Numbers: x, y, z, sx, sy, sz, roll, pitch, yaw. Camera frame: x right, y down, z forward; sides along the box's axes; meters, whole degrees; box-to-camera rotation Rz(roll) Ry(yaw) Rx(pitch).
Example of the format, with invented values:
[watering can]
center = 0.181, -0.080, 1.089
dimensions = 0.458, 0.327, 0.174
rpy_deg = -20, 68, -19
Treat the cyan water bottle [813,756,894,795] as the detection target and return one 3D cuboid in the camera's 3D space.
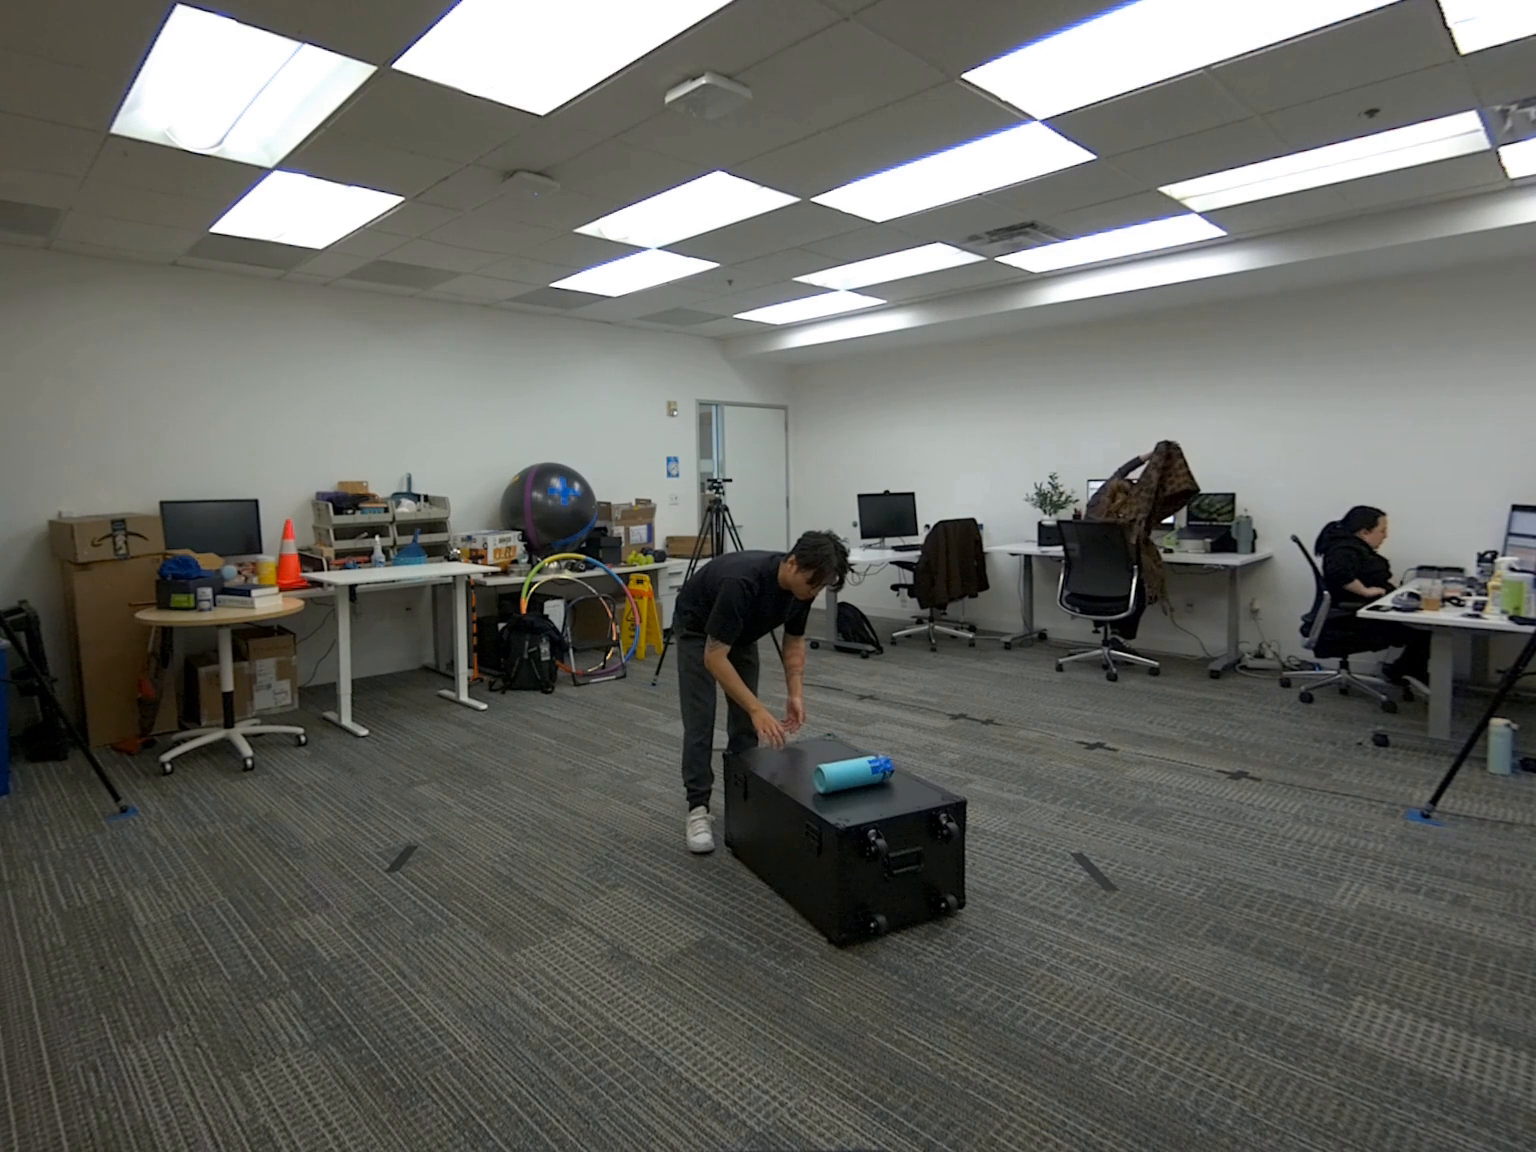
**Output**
[cyan water bottle]
center = 0.291, 0.645, 2.833
dimensions = 0.277, 0.092, 0.094
rpy_deg = -3, 5, -25
